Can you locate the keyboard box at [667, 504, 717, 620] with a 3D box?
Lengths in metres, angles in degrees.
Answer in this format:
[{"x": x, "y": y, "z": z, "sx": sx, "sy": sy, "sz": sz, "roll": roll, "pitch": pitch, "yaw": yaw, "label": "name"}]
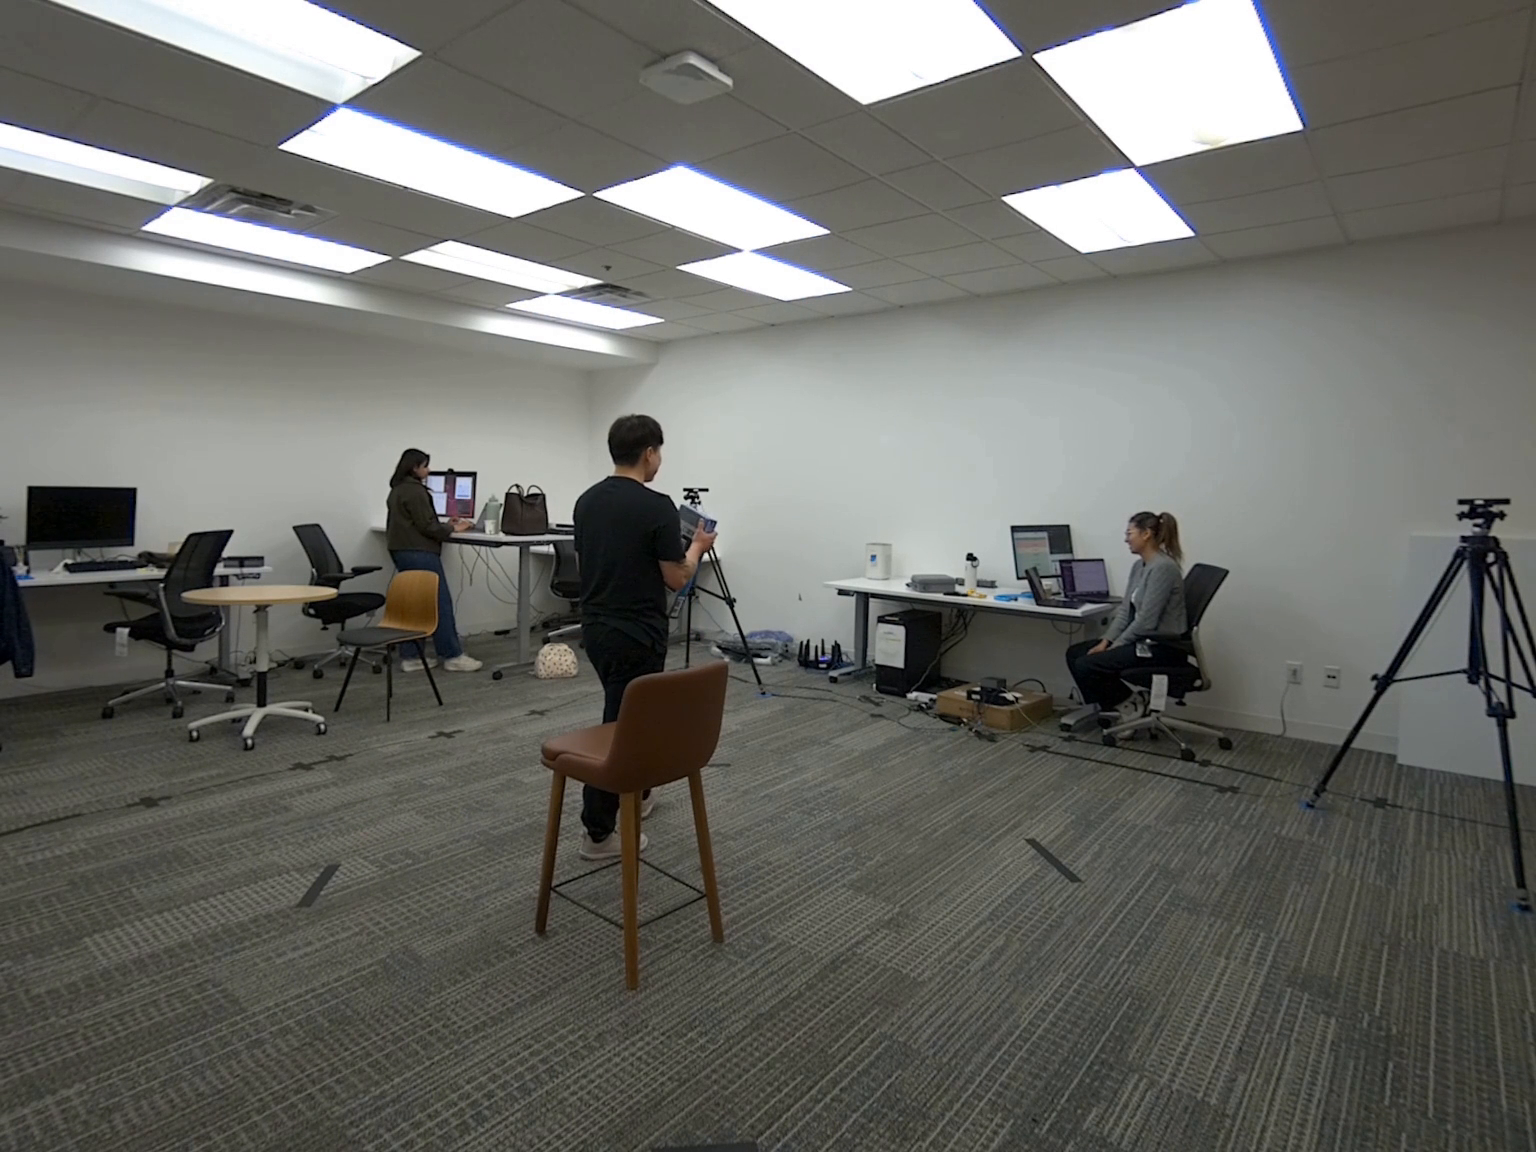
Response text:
[{"x": -0.375, "y": -0.060, "z": 3.460, "sx": 0.183, "sy": 0.435, "sz": 0.057, "roll": 29, "pitch": 10, "yaw": 38, "label": "keyboard box"}]
